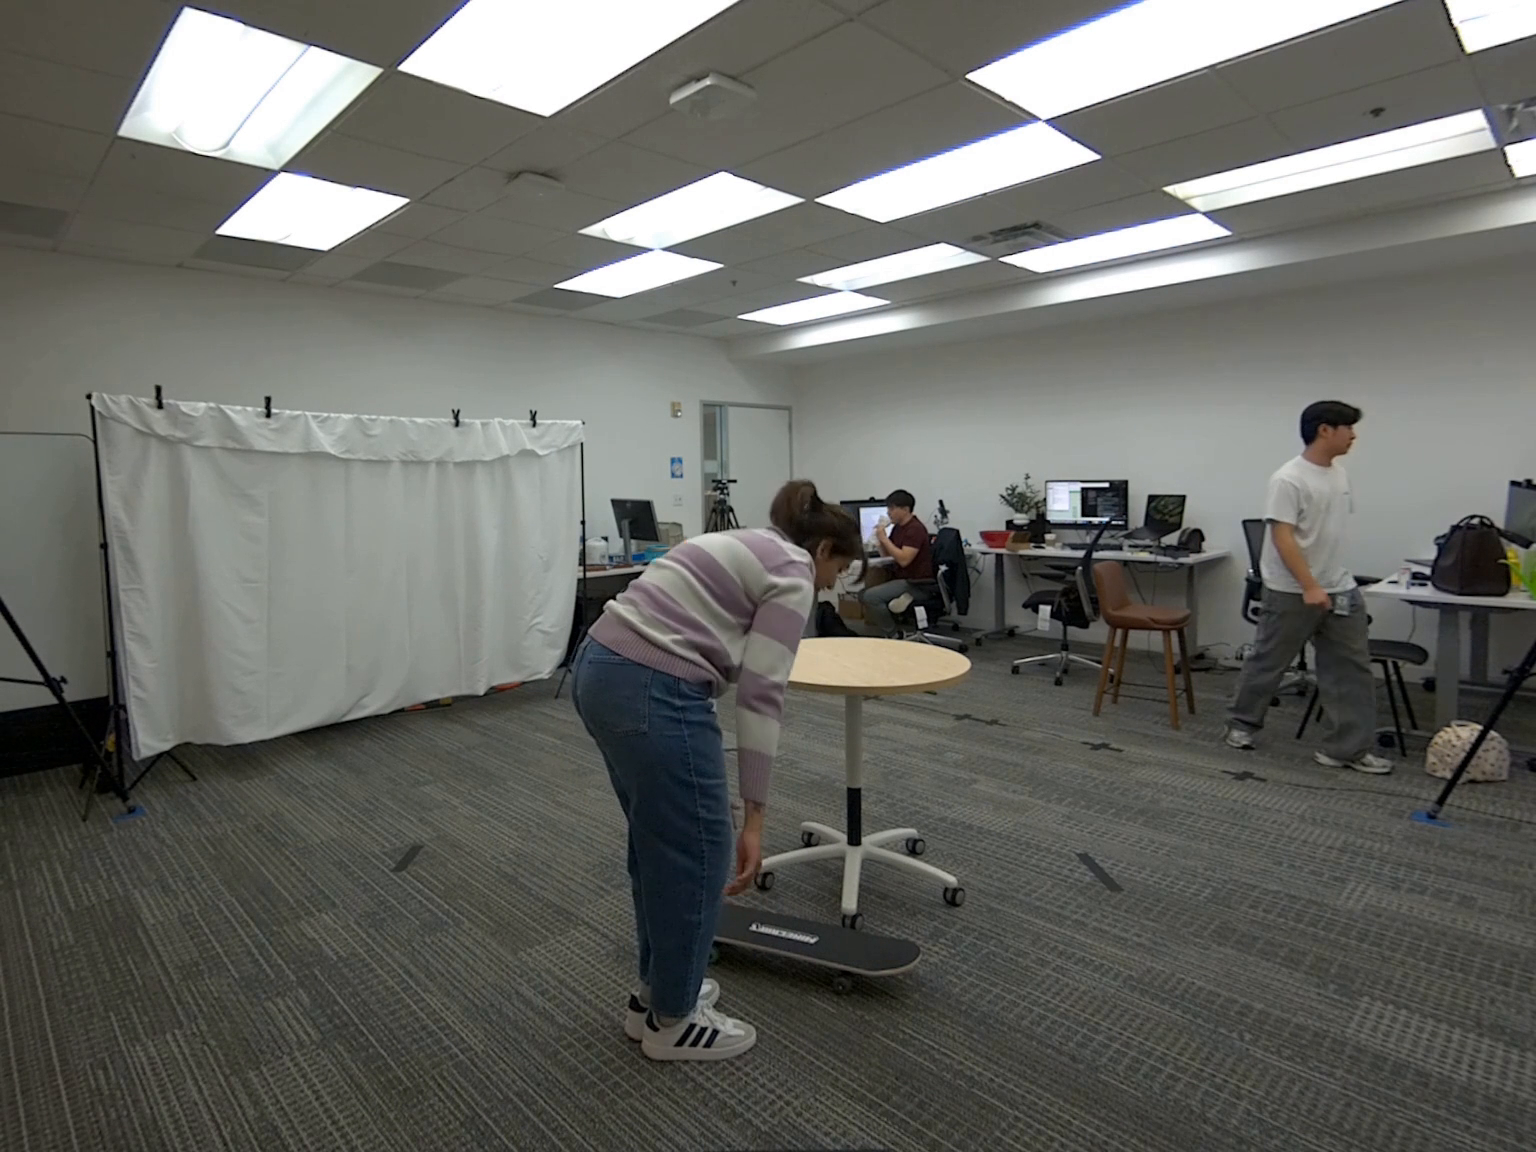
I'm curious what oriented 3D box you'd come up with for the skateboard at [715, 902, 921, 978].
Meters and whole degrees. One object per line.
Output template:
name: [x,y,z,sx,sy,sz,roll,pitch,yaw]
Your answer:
skateboard: [0.050,1.063,2.468,0.803,0.110,0.190,2,5,24]
